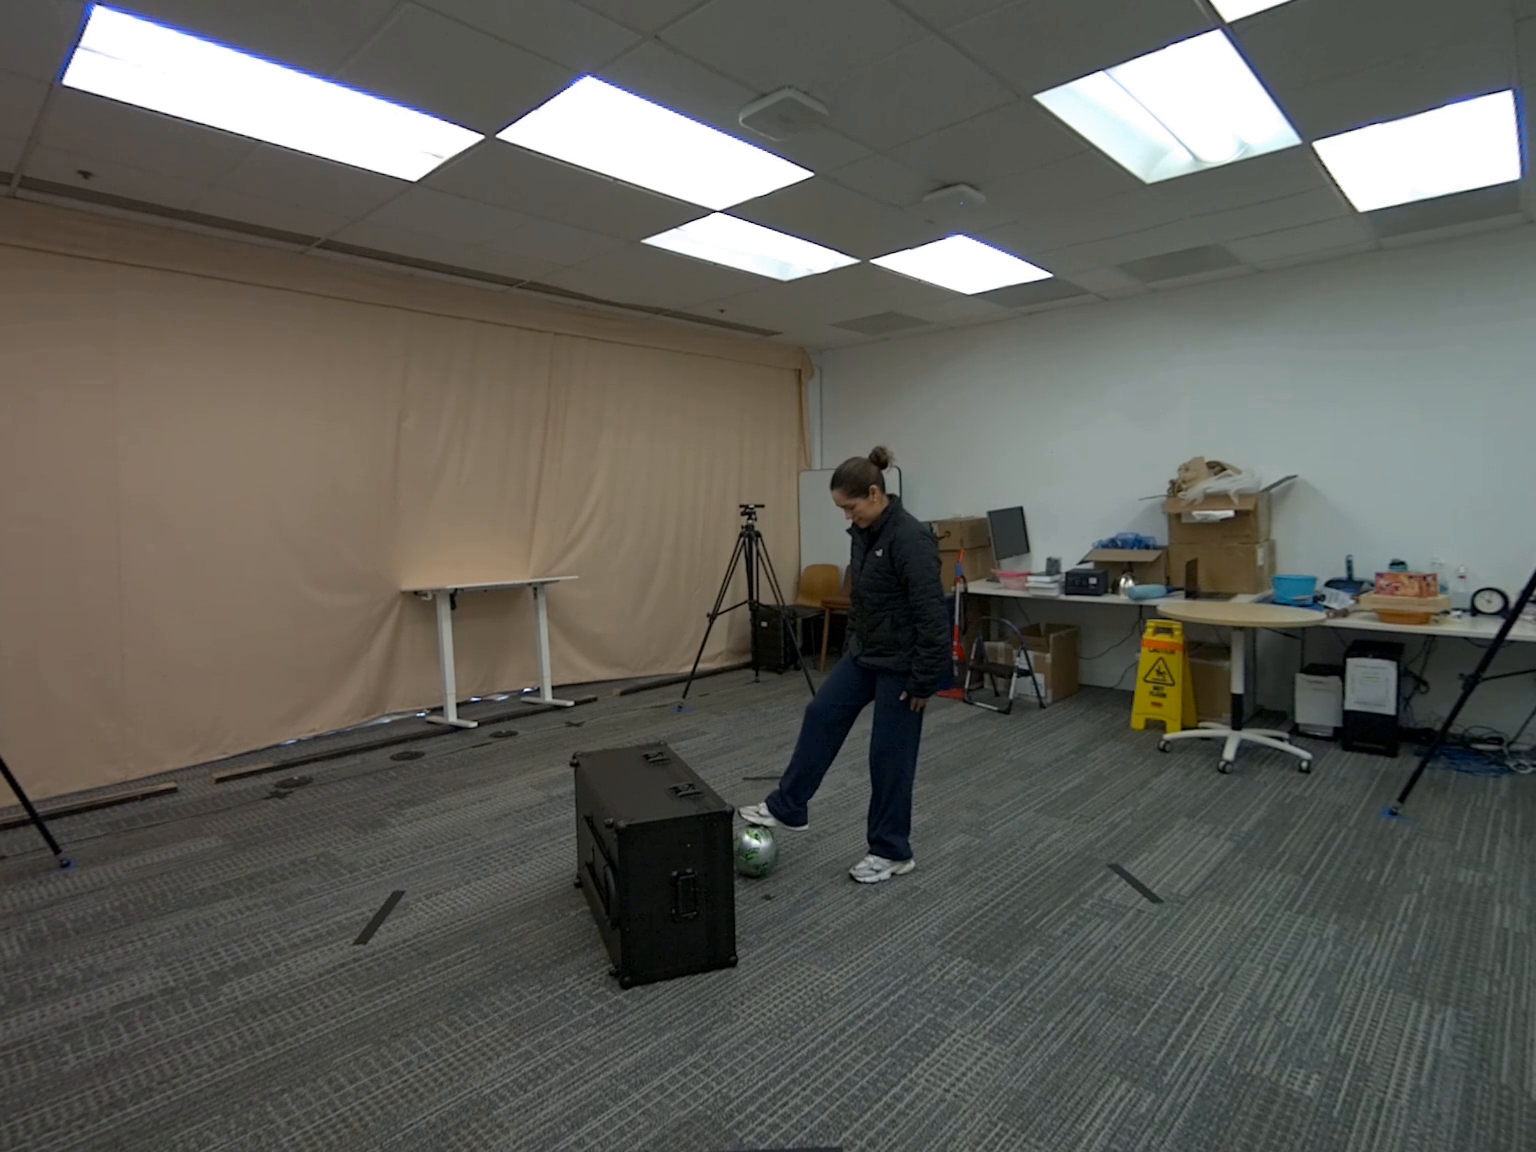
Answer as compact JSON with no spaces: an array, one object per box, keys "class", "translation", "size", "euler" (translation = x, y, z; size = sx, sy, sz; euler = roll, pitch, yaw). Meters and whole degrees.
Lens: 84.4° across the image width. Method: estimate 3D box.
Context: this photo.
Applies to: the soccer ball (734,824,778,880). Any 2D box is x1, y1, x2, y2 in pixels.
[{"class":"soccer ball","translation":[-0.042,1.040,3.172],"size":[0.187,0.187,0.188],"euler":[-1,4,-2]}]
